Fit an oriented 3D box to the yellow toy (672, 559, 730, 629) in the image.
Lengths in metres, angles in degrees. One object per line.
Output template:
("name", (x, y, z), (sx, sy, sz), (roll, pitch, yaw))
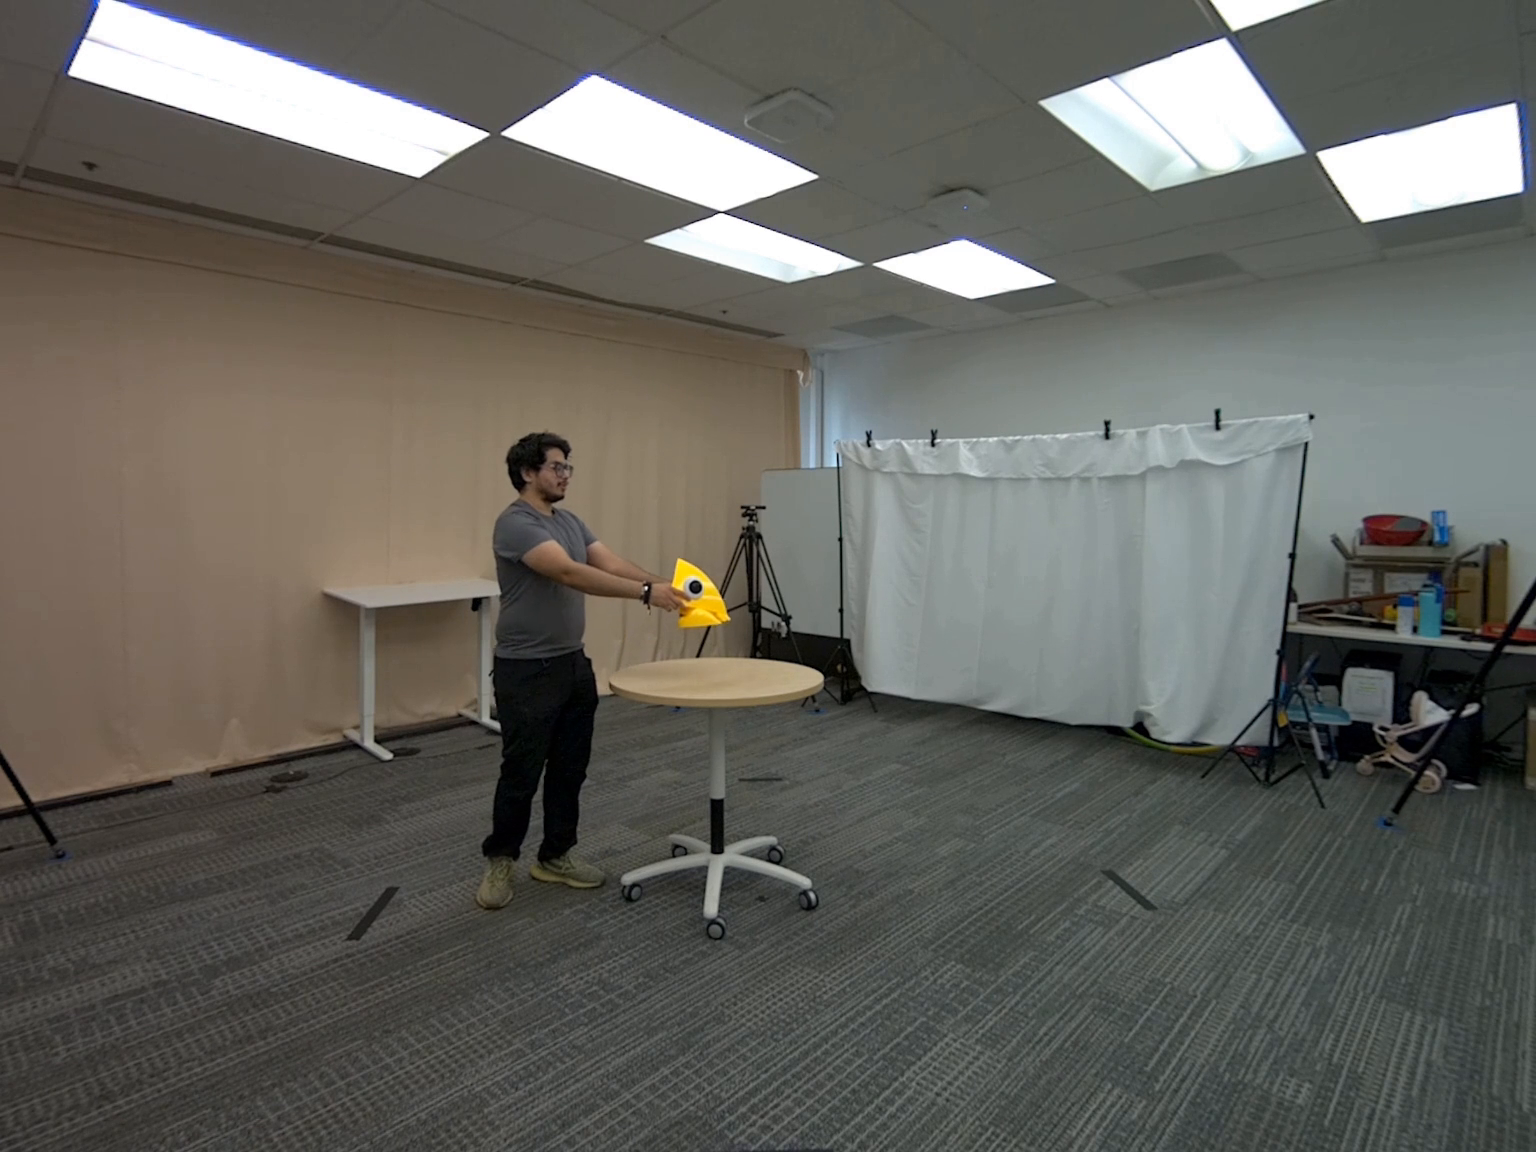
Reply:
("yellow toy", (-0.245, 0.053, 2.891), (0.196, 0.231, 0.201), (-5, 0, 15))
